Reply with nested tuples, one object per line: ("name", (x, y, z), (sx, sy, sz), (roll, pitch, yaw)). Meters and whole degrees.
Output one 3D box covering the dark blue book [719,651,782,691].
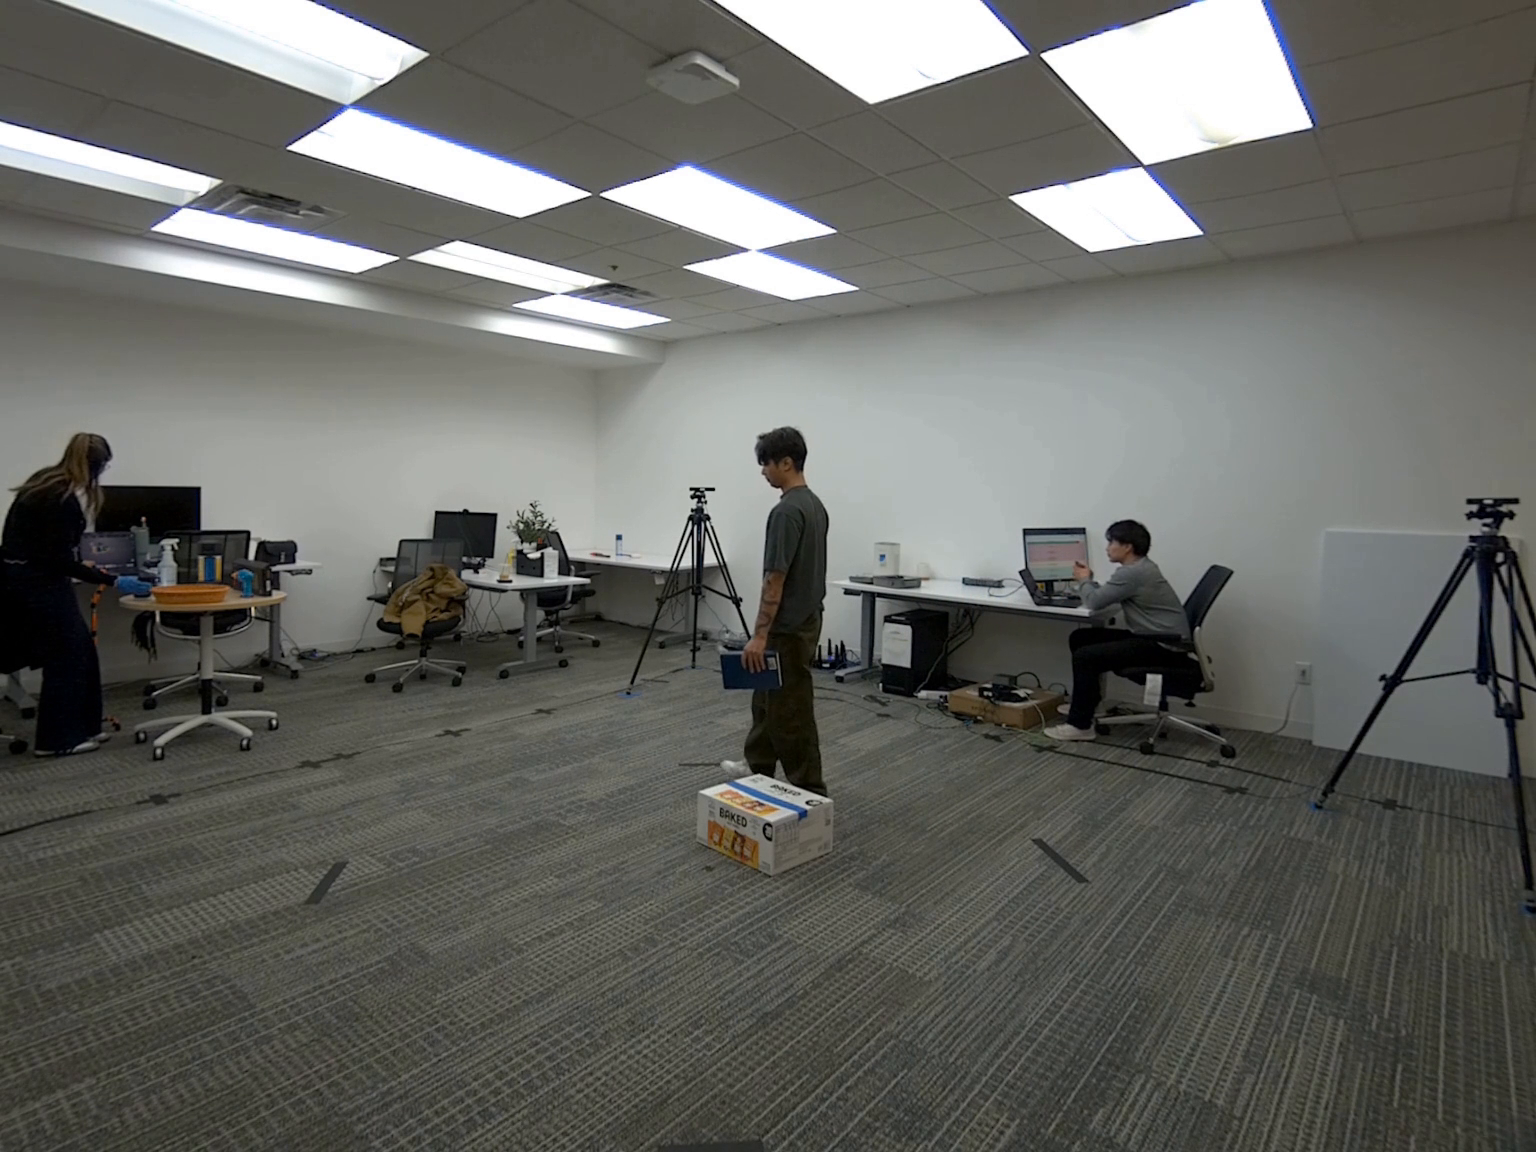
("dark blue book", (-0.076, 0.392, 3.567), (0.248, 0.161, 0.045), (-2, 13, 13))
